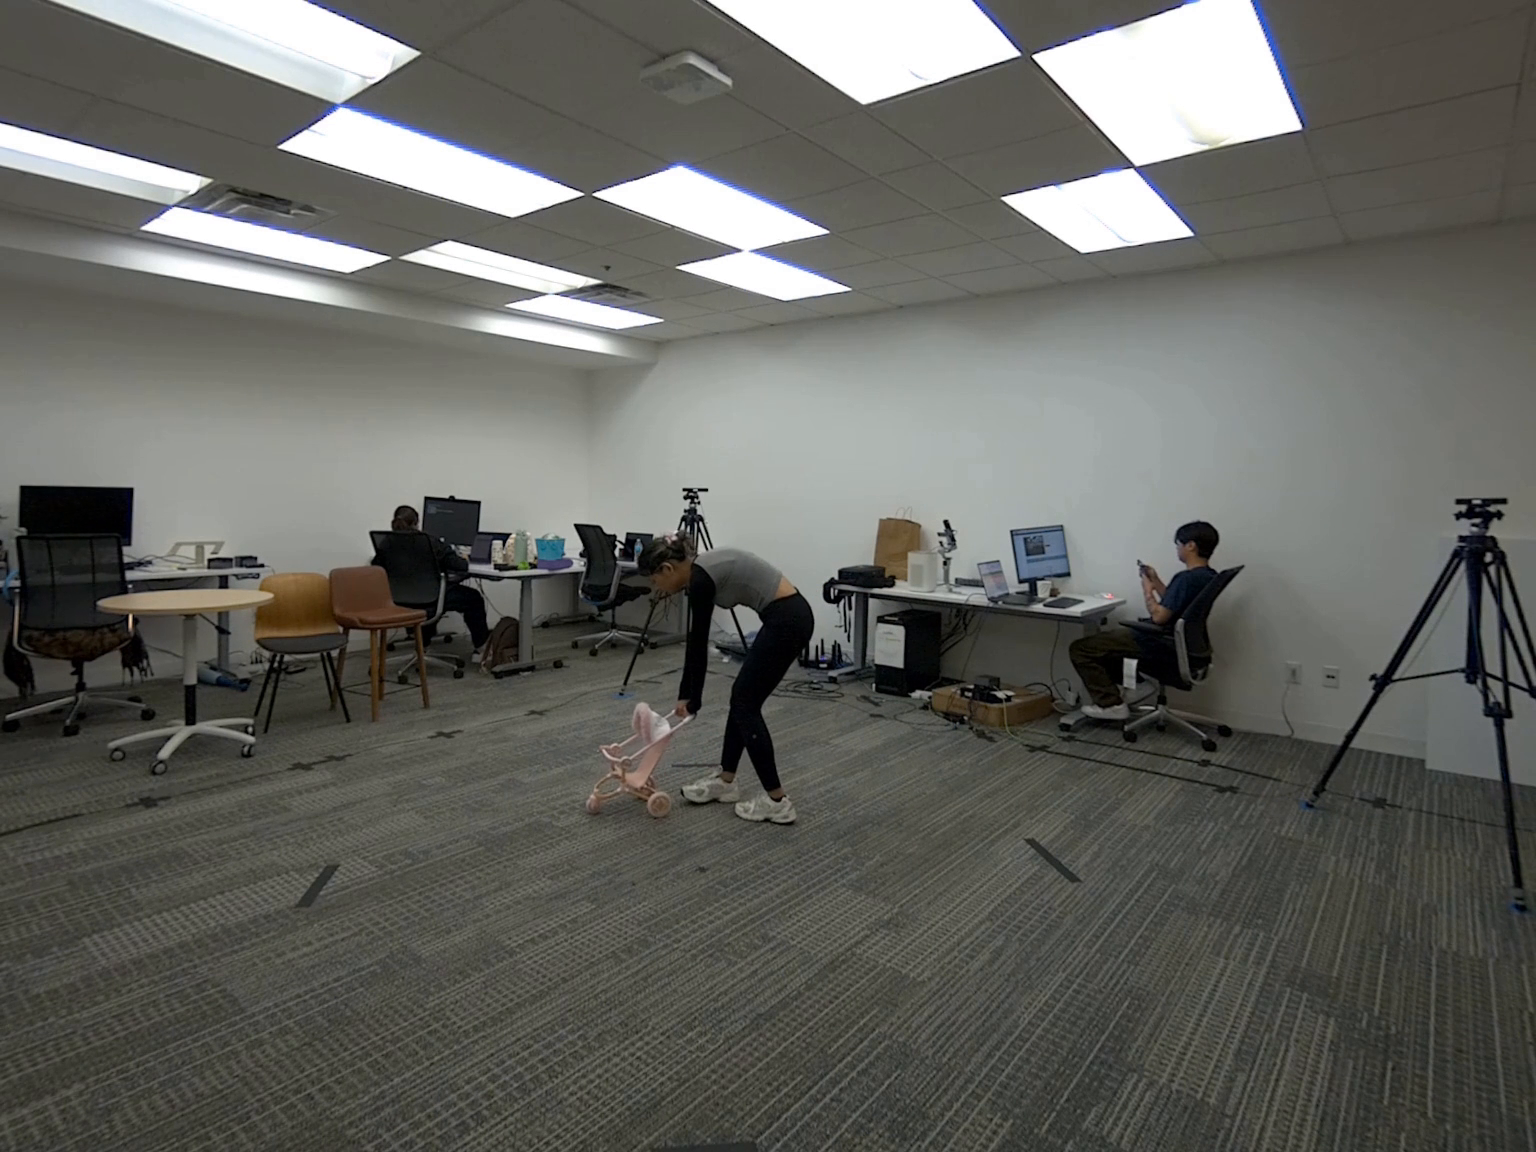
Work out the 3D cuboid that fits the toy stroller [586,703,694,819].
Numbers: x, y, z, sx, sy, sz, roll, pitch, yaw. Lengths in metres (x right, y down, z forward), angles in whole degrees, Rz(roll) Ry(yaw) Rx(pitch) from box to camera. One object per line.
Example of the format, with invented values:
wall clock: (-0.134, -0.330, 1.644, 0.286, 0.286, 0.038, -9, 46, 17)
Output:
toy stroller: (-0.576, 0.782, 3.687, 0.334, 0.536, 0.287, 17, -2, -18)
